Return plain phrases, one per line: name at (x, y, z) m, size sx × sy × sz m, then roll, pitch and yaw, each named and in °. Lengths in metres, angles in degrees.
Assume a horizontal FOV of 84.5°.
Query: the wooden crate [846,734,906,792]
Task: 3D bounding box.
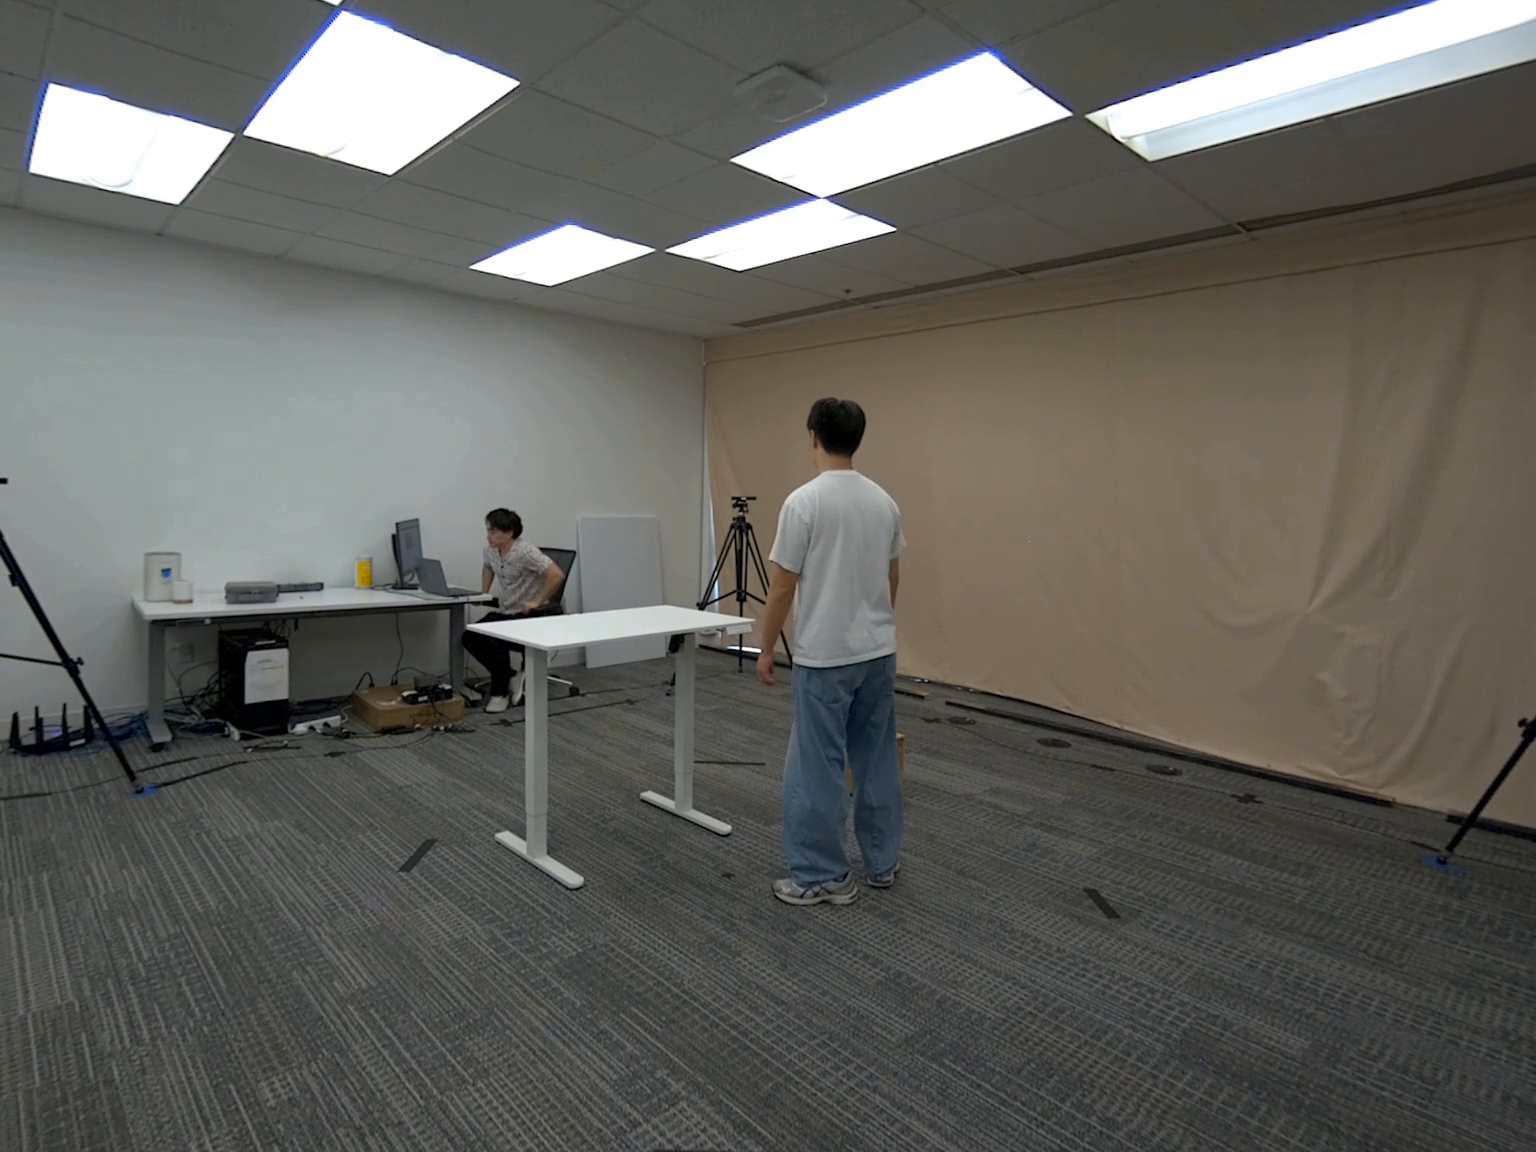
wooden crate at (0.469, 0.886, 3.973) m, size 0.295 × 0.323 × 0.280 m, roll -1°, pitch 6°, yaw -43°
